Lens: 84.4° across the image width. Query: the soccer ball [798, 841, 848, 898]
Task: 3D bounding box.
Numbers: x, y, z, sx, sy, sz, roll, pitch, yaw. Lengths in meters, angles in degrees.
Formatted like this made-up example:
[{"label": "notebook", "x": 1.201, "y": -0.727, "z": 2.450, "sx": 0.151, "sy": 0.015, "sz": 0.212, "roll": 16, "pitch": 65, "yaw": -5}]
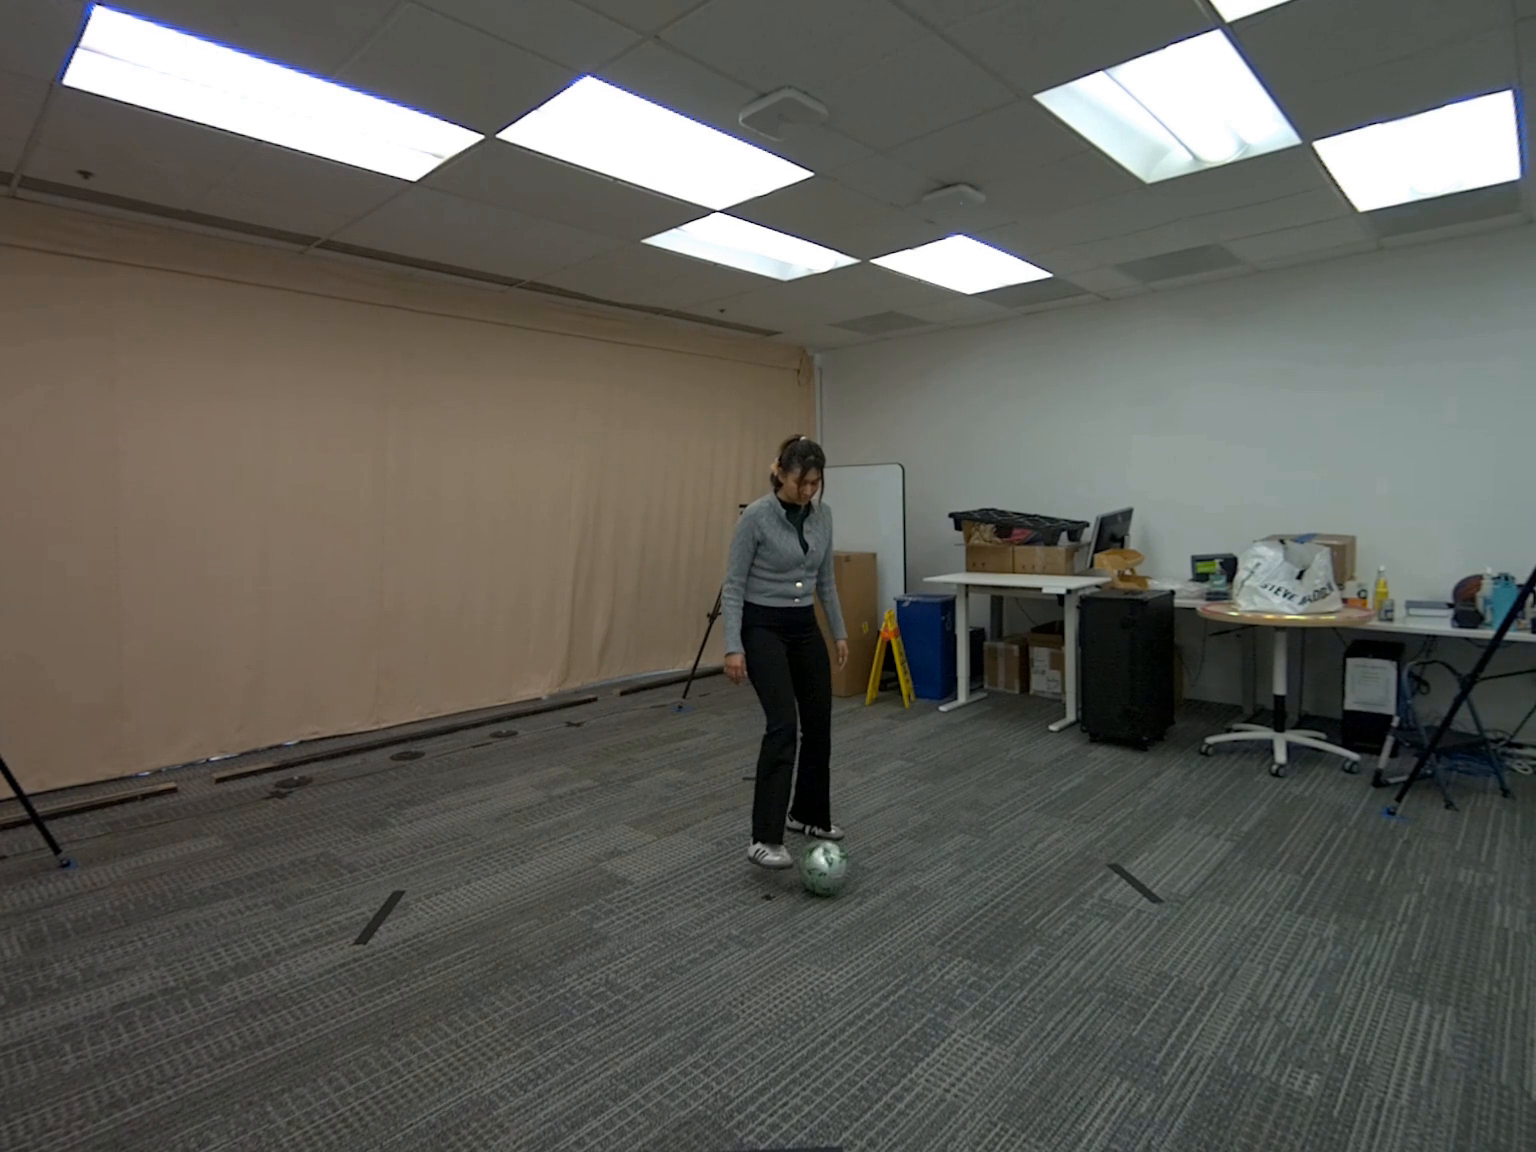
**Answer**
[{"label": "soccer ball", "x": 0.201, "y": 1.035, "z": 3.004, "sx": 0.187, "sy": 0.187, "sz": 0.188, "roll": -1, "pitch": 4, "yaw": -2}]
